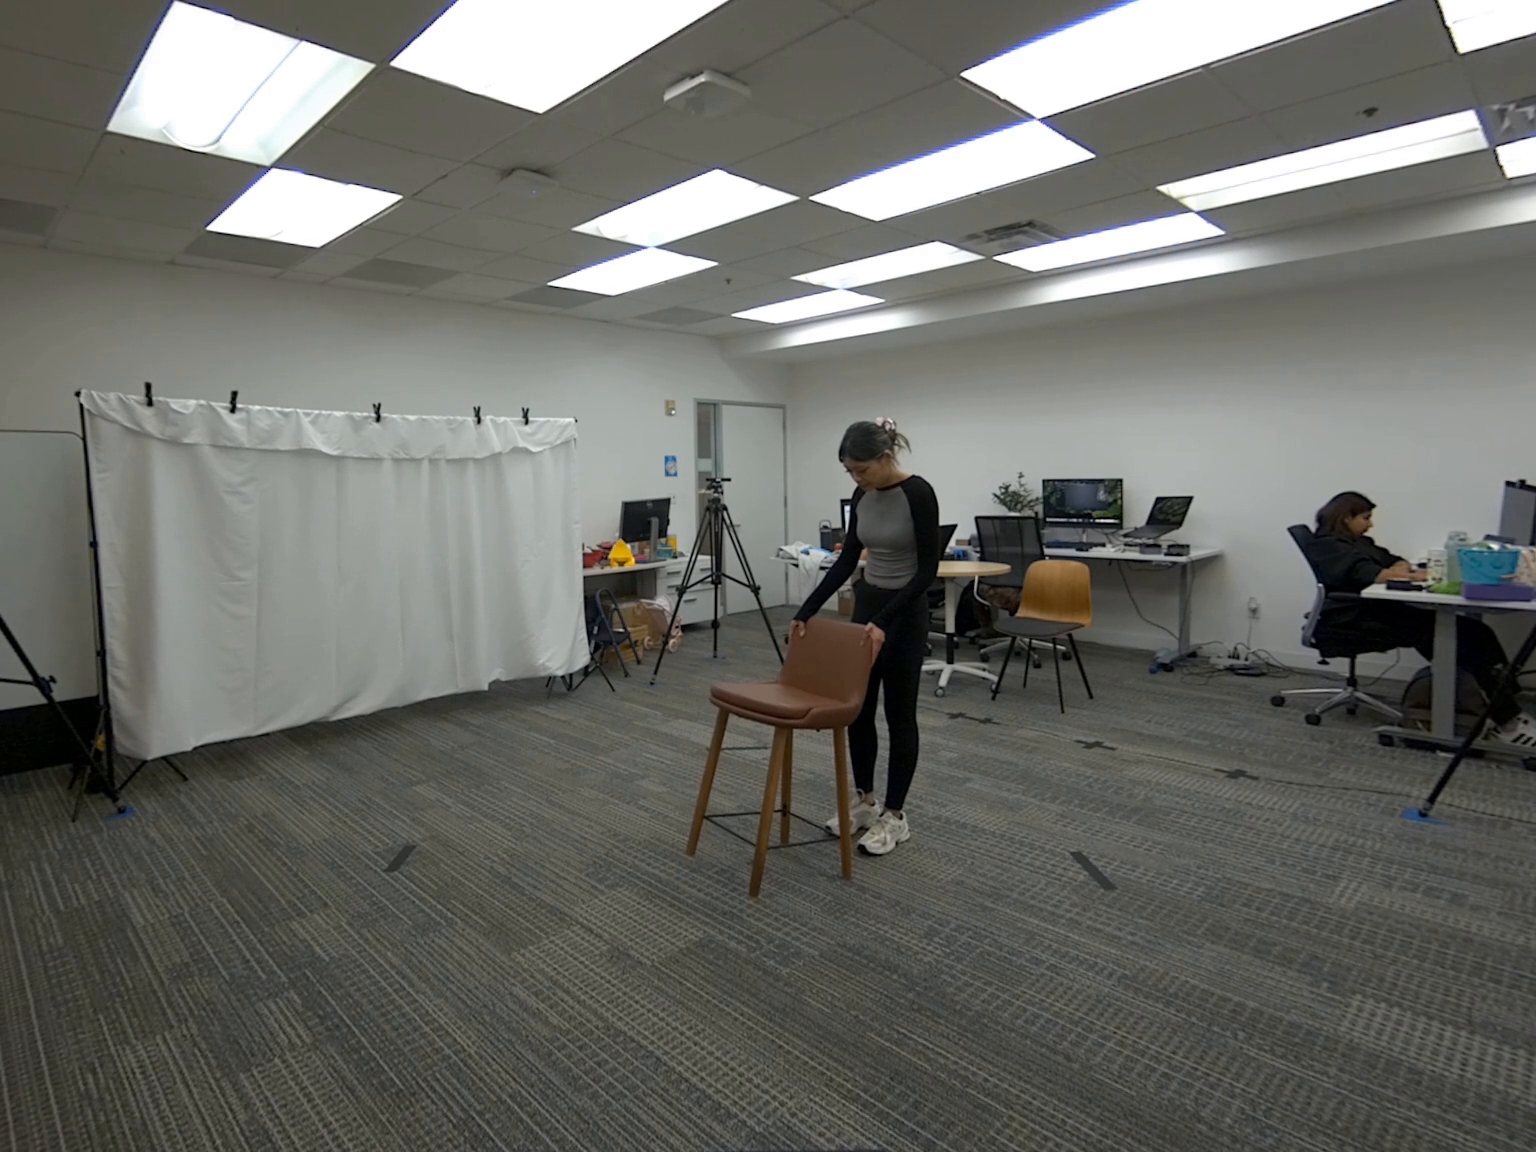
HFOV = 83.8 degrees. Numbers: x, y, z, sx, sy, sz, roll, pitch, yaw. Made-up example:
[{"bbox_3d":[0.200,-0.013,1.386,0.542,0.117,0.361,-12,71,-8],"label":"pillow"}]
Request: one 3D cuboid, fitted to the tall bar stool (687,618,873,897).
[{"bbox_3d":[0.062,0.590,3.009,0.453,0.892,0.470,9,-3,-36],"label":"tall bar stool"}]
